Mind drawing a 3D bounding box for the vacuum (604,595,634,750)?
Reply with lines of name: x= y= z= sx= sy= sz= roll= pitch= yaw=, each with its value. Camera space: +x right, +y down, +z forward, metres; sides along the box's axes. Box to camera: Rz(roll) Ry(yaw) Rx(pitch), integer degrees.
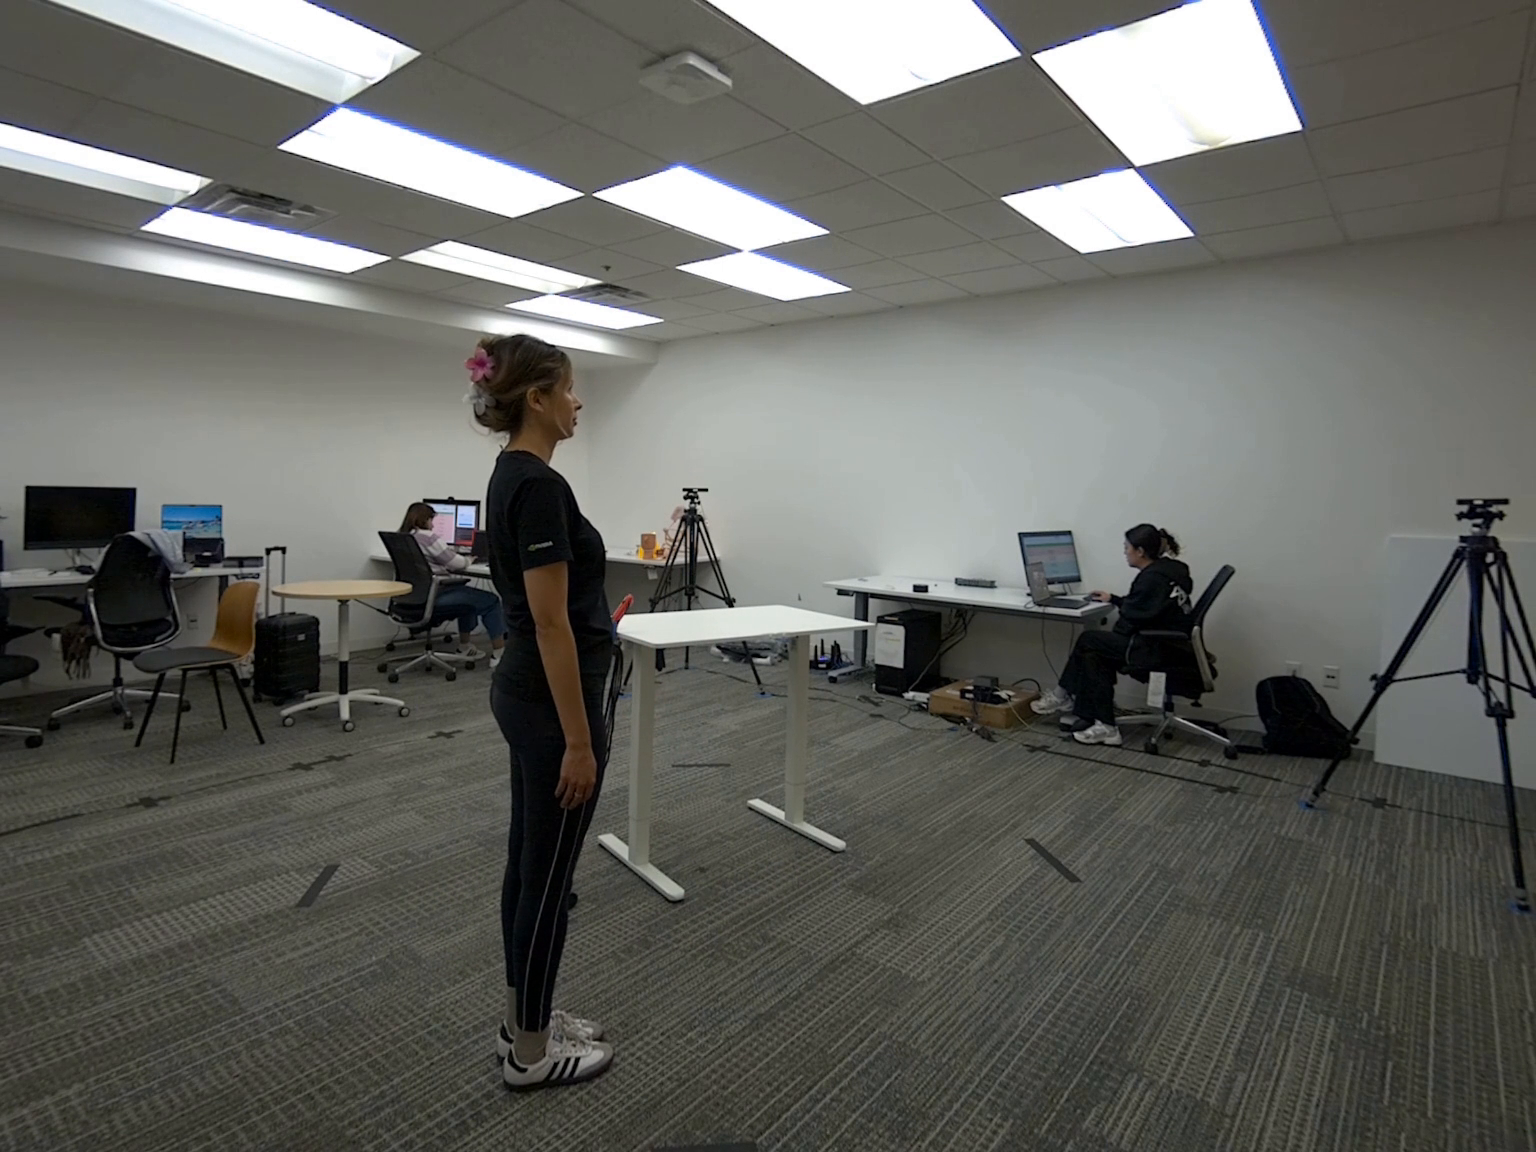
vacuum: x=-0.618 y=0.588 z=2.893 sx=0.261 sy=1.057 sz=0.138 roll=6 pitch=-13 yaw=36
